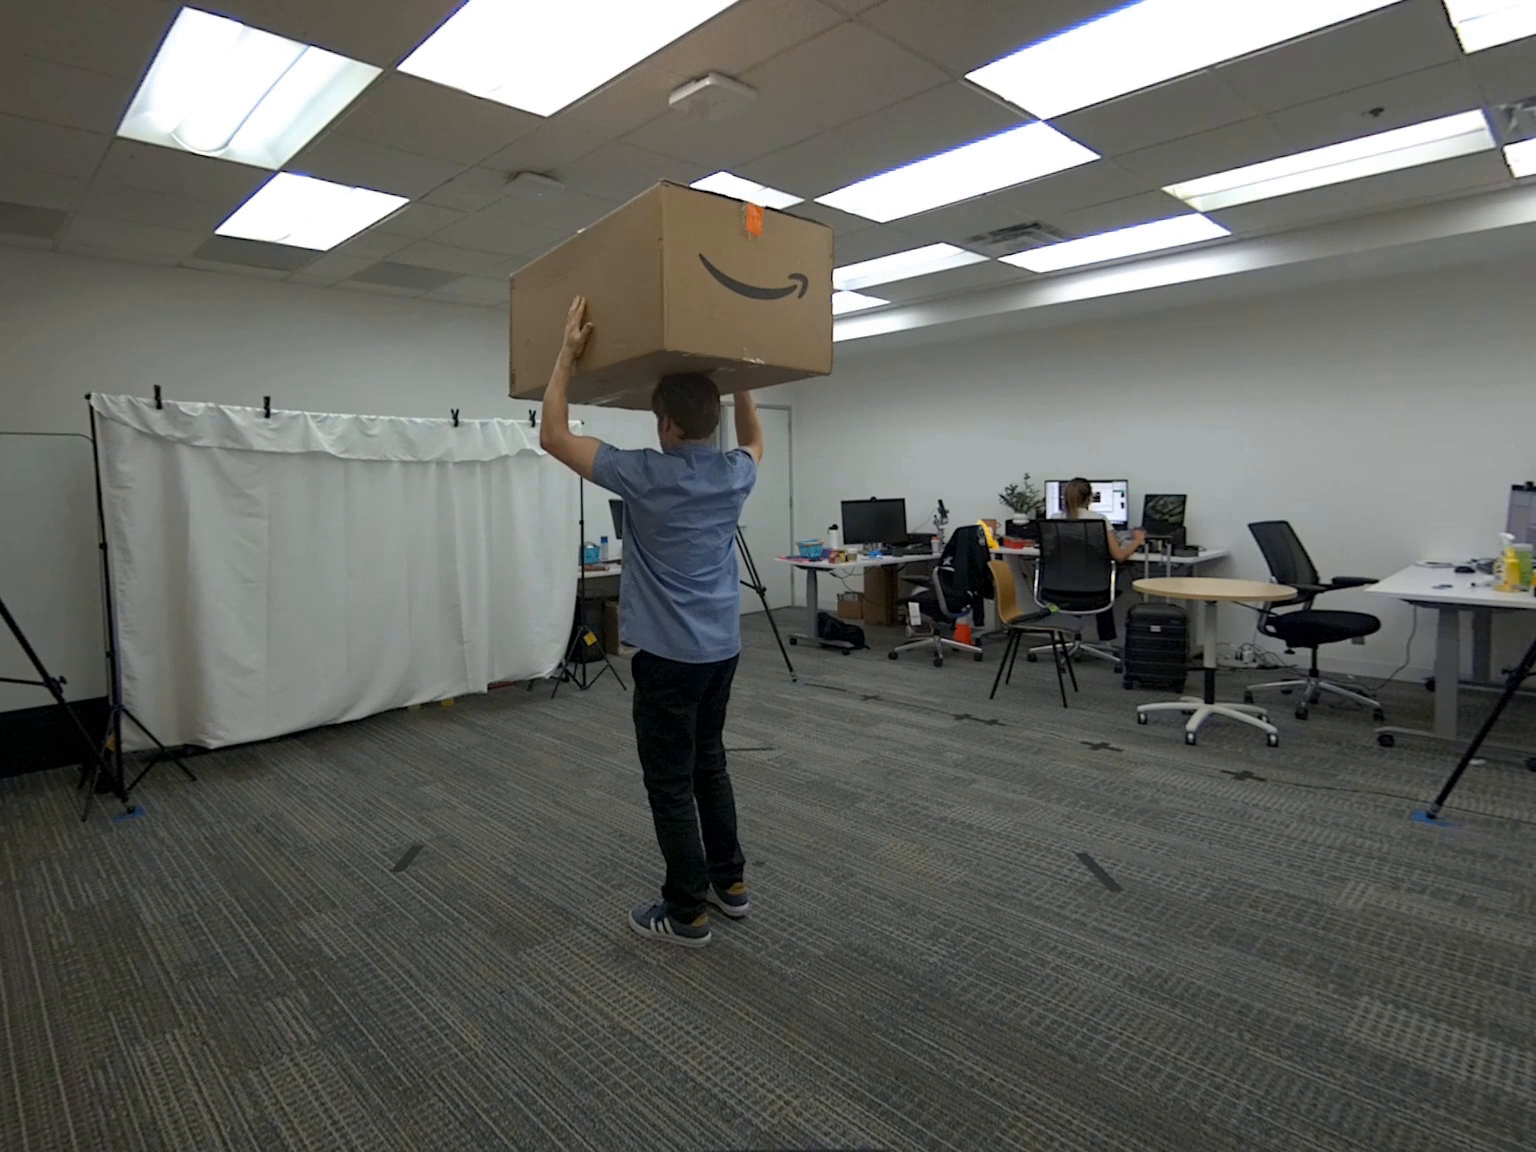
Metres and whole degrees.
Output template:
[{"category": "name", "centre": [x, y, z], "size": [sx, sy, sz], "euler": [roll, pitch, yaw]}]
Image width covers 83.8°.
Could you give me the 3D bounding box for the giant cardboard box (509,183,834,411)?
[{"category": "giant cardboard box", "centre": [-0.349, -0.804, 2.688], "size": [0.562, 0.425, 1.056], "euler": [-2, 4, -37]}]
